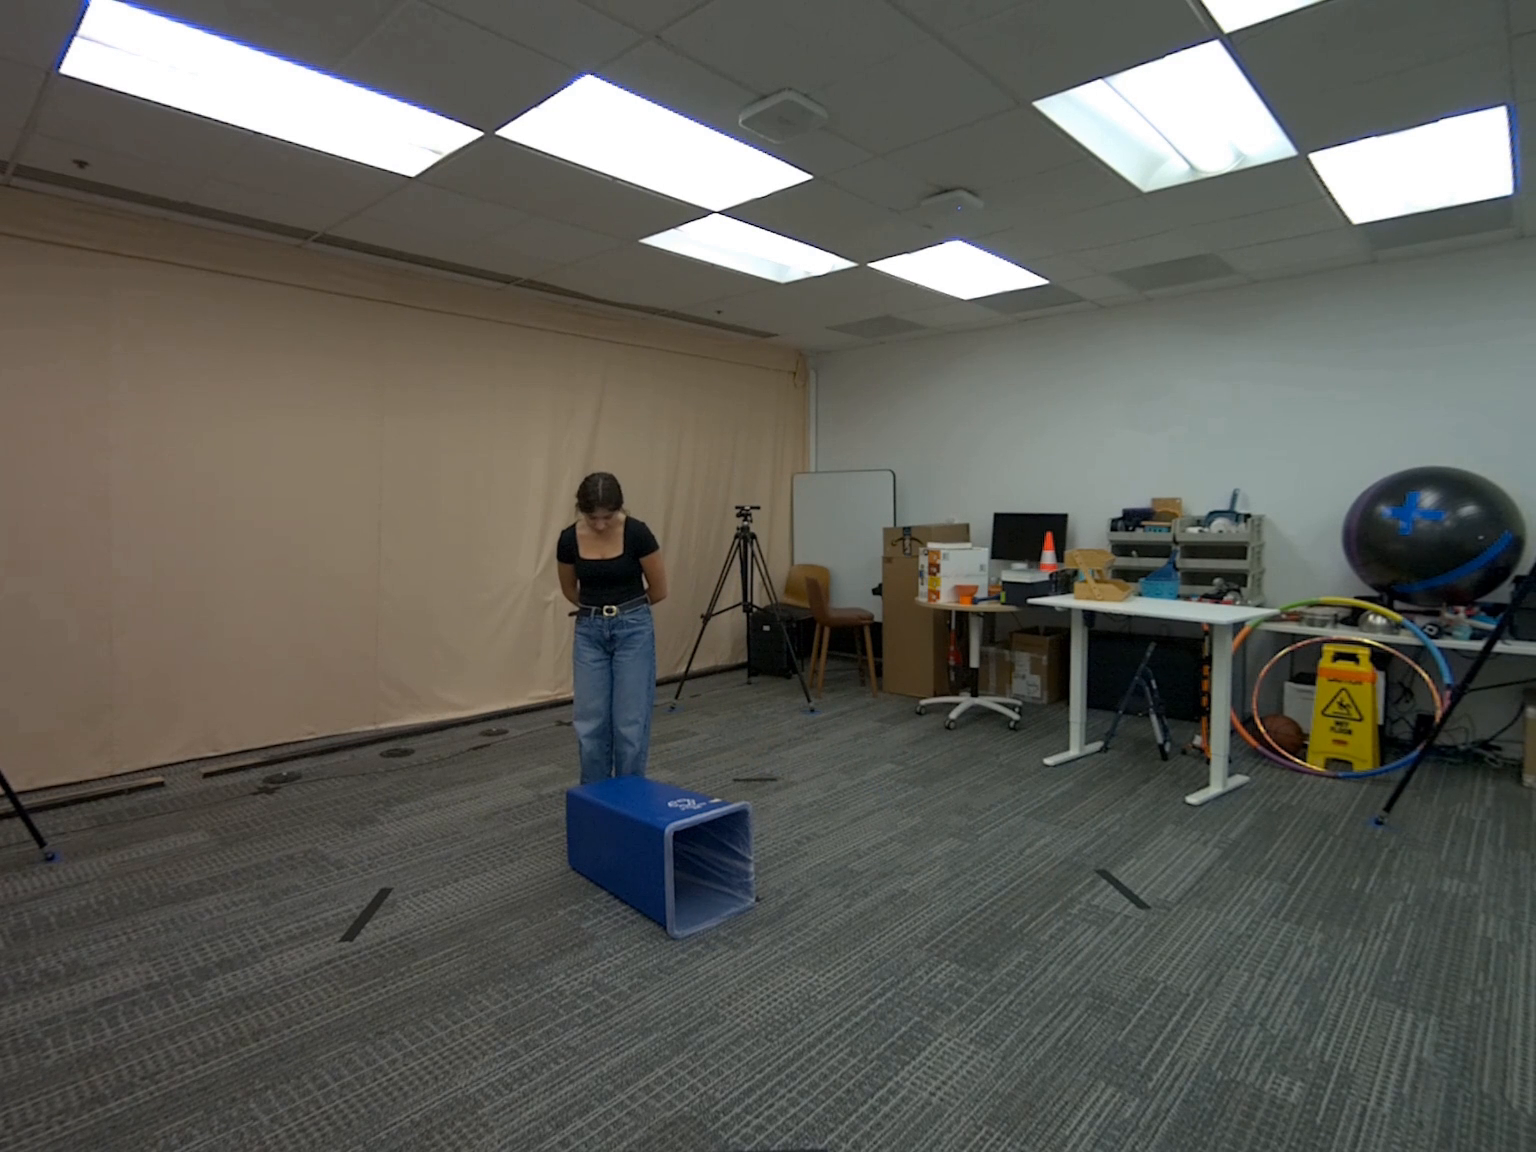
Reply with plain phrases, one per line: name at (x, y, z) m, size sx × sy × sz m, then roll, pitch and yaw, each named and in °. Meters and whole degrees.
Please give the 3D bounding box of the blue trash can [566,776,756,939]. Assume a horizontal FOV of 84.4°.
blue trash can at (-0.424, 0.973, 3.072) m, size 0.363 × 0.378 × 0.736 m, roll -4°, pitch 2°, yaw -42°
